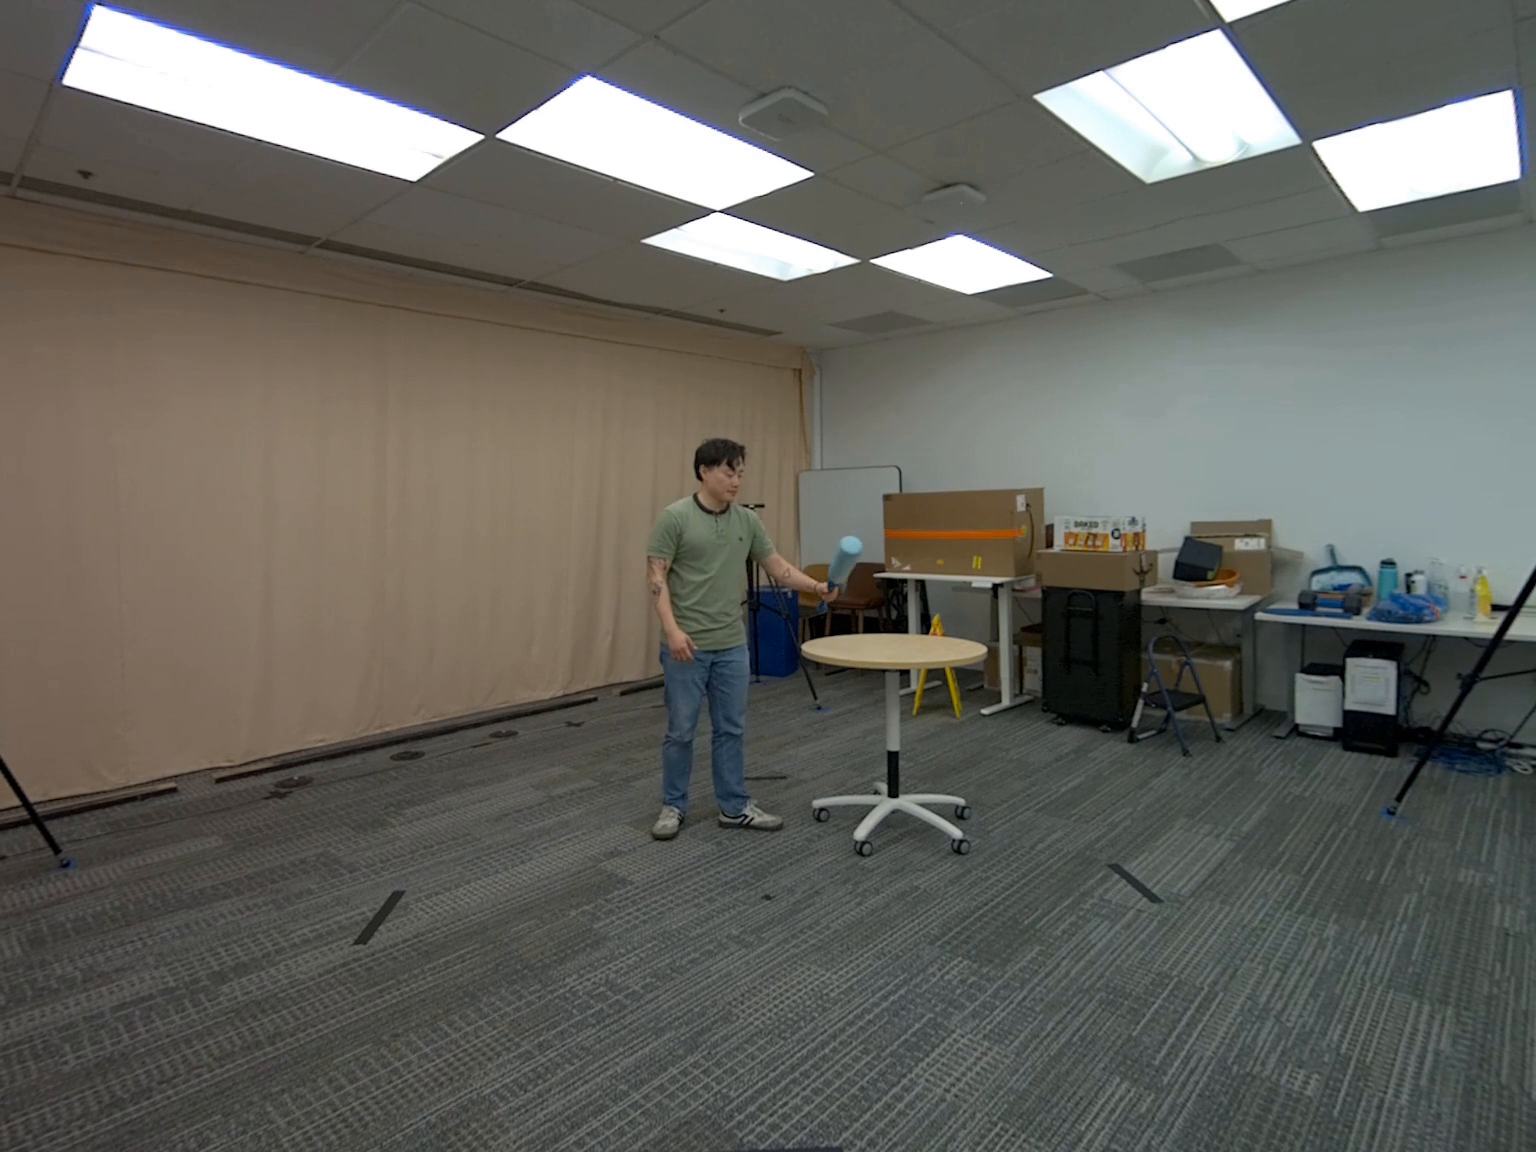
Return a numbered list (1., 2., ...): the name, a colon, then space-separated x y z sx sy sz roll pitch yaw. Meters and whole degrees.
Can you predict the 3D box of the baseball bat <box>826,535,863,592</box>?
1. baseball bat: 0.263 0.030 3.378 0.088 0.091 0.538 -1 -29 -10
